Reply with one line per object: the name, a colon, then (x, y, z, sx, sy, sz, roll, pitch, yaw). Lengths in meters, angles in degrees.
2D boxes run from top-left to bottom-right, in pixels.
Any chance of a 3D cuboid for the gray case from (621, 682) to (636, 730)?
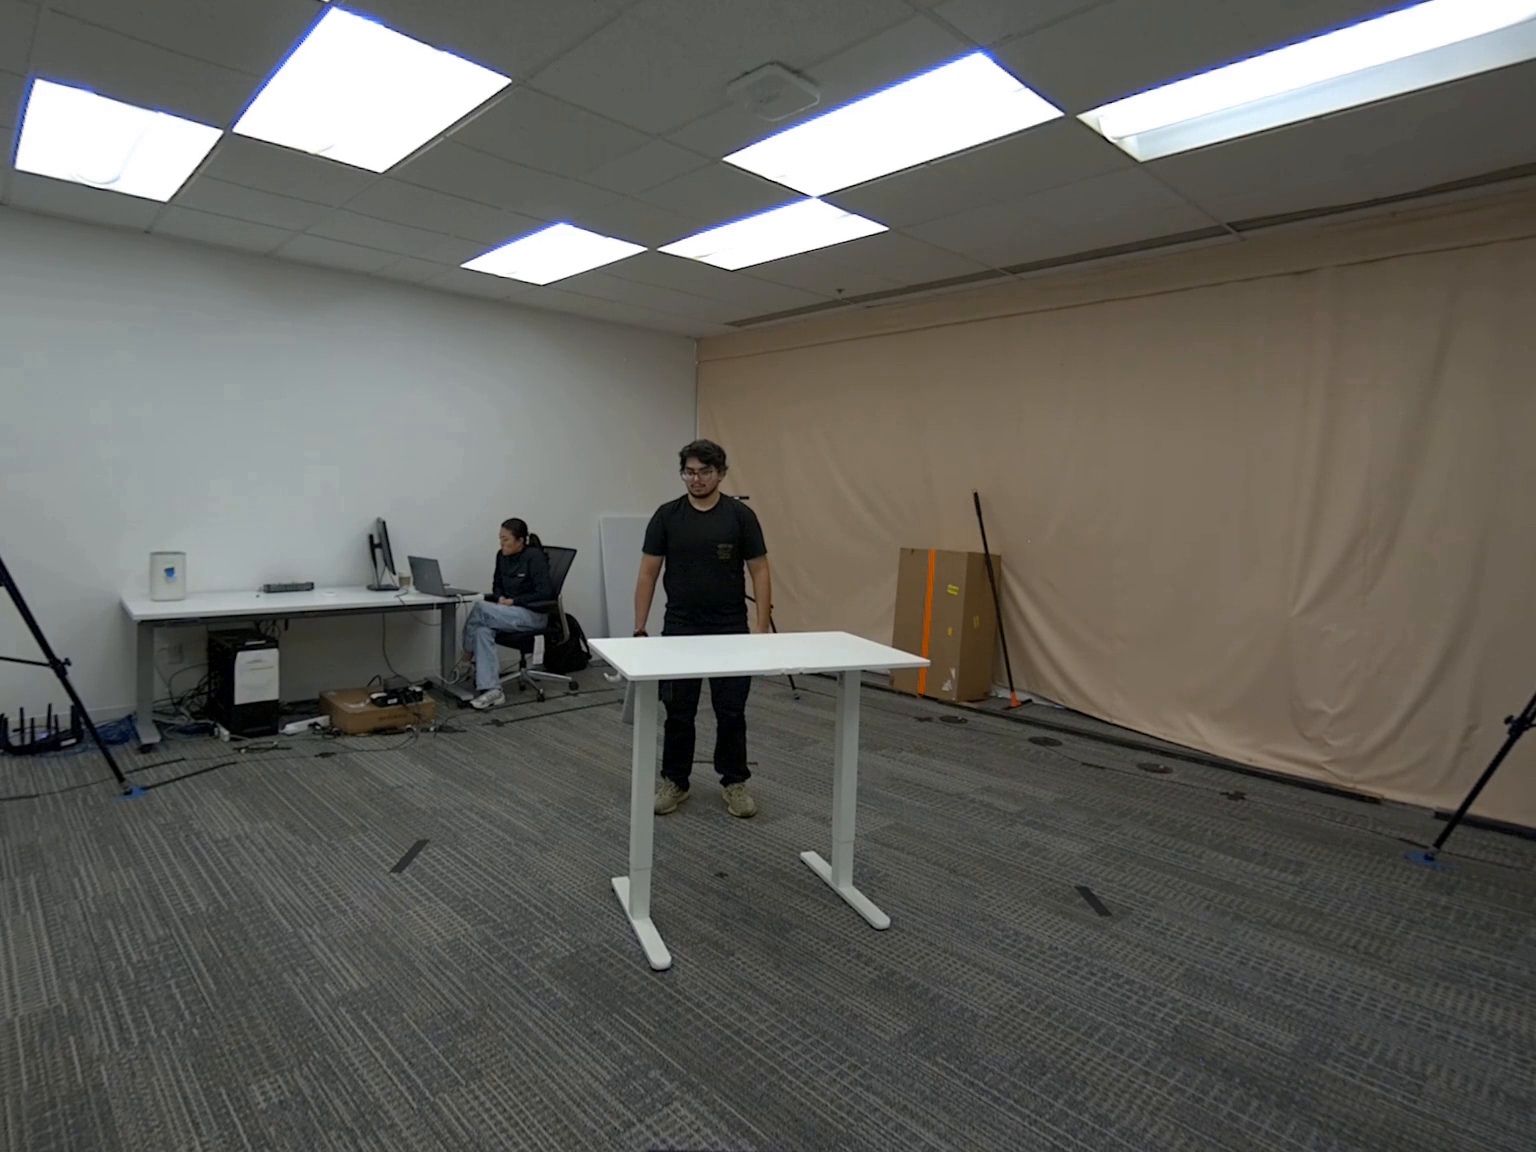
gray case: (-0.564, 0.506, 3.667, 0.104, 0.260, 0.257, 10, 4, 1)
